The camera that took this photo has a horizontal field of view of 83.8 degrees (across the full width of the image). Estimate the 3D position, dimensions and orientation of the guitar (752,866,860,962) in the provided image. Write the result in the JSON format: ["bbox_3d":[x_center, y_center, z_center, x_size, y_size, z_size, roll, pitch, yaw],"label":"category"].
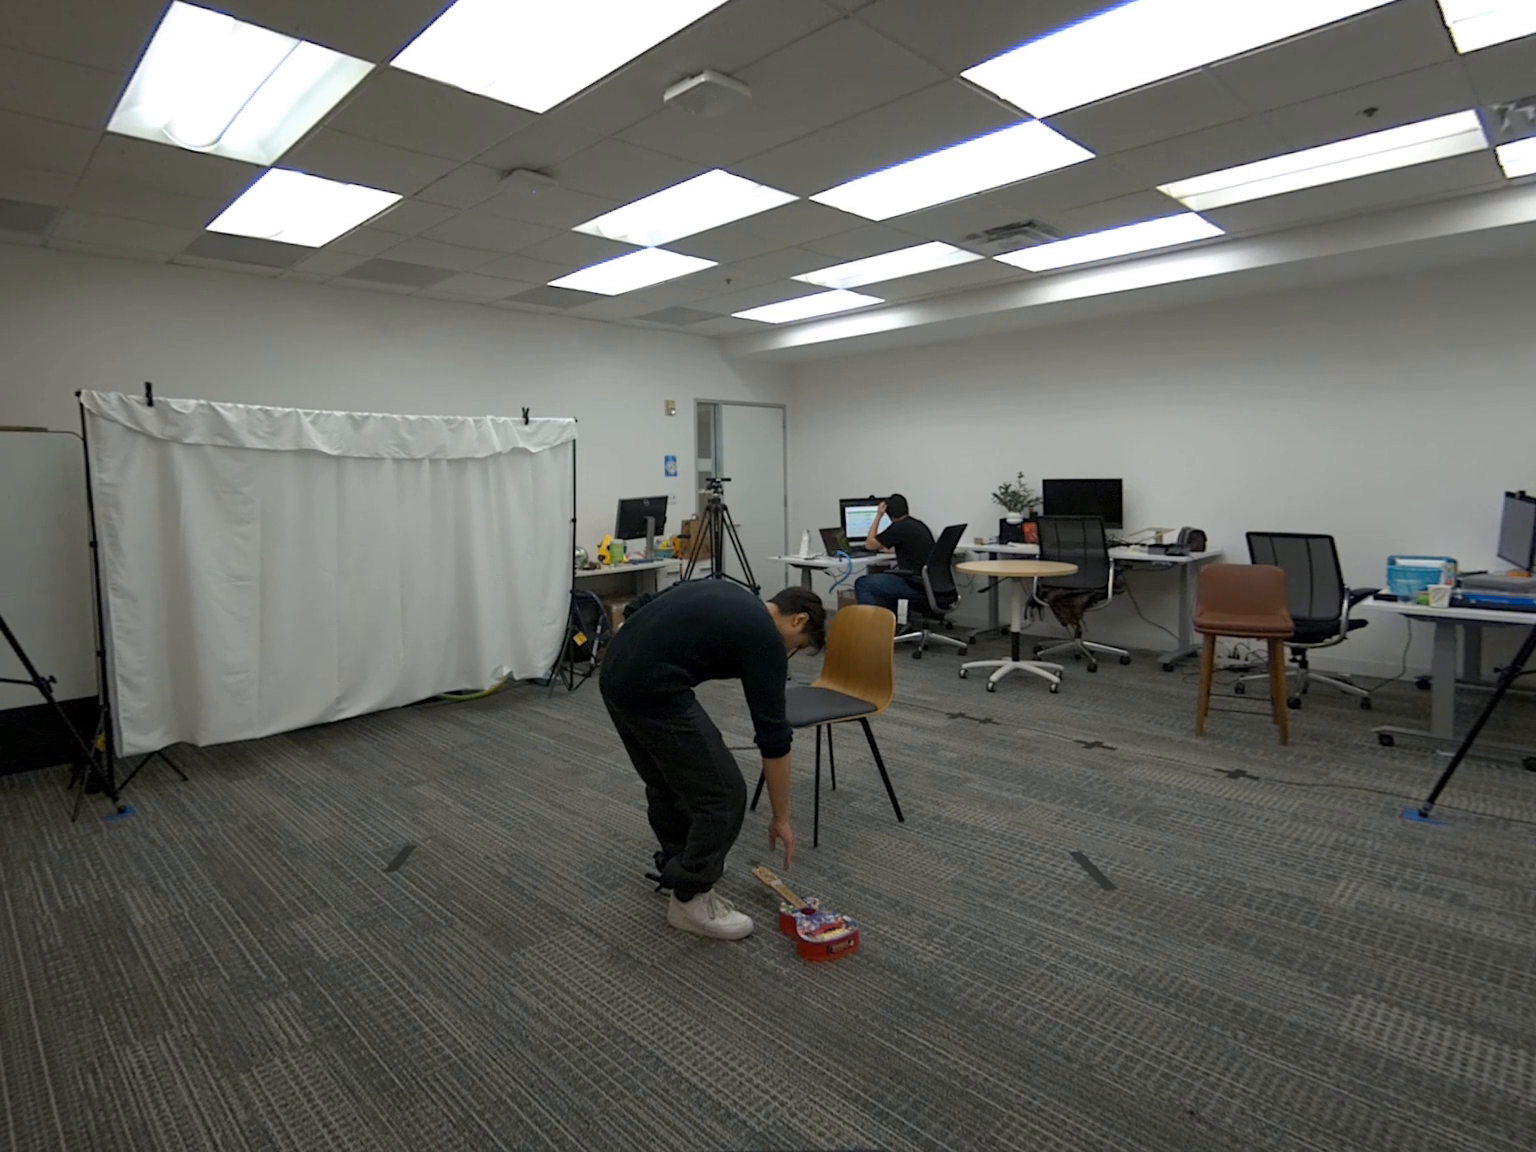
[{"bbox_3d":[0.113,1.045,2.709,0.190,0.070,0.509,-3,7,-20],"label":"guitar"}]
